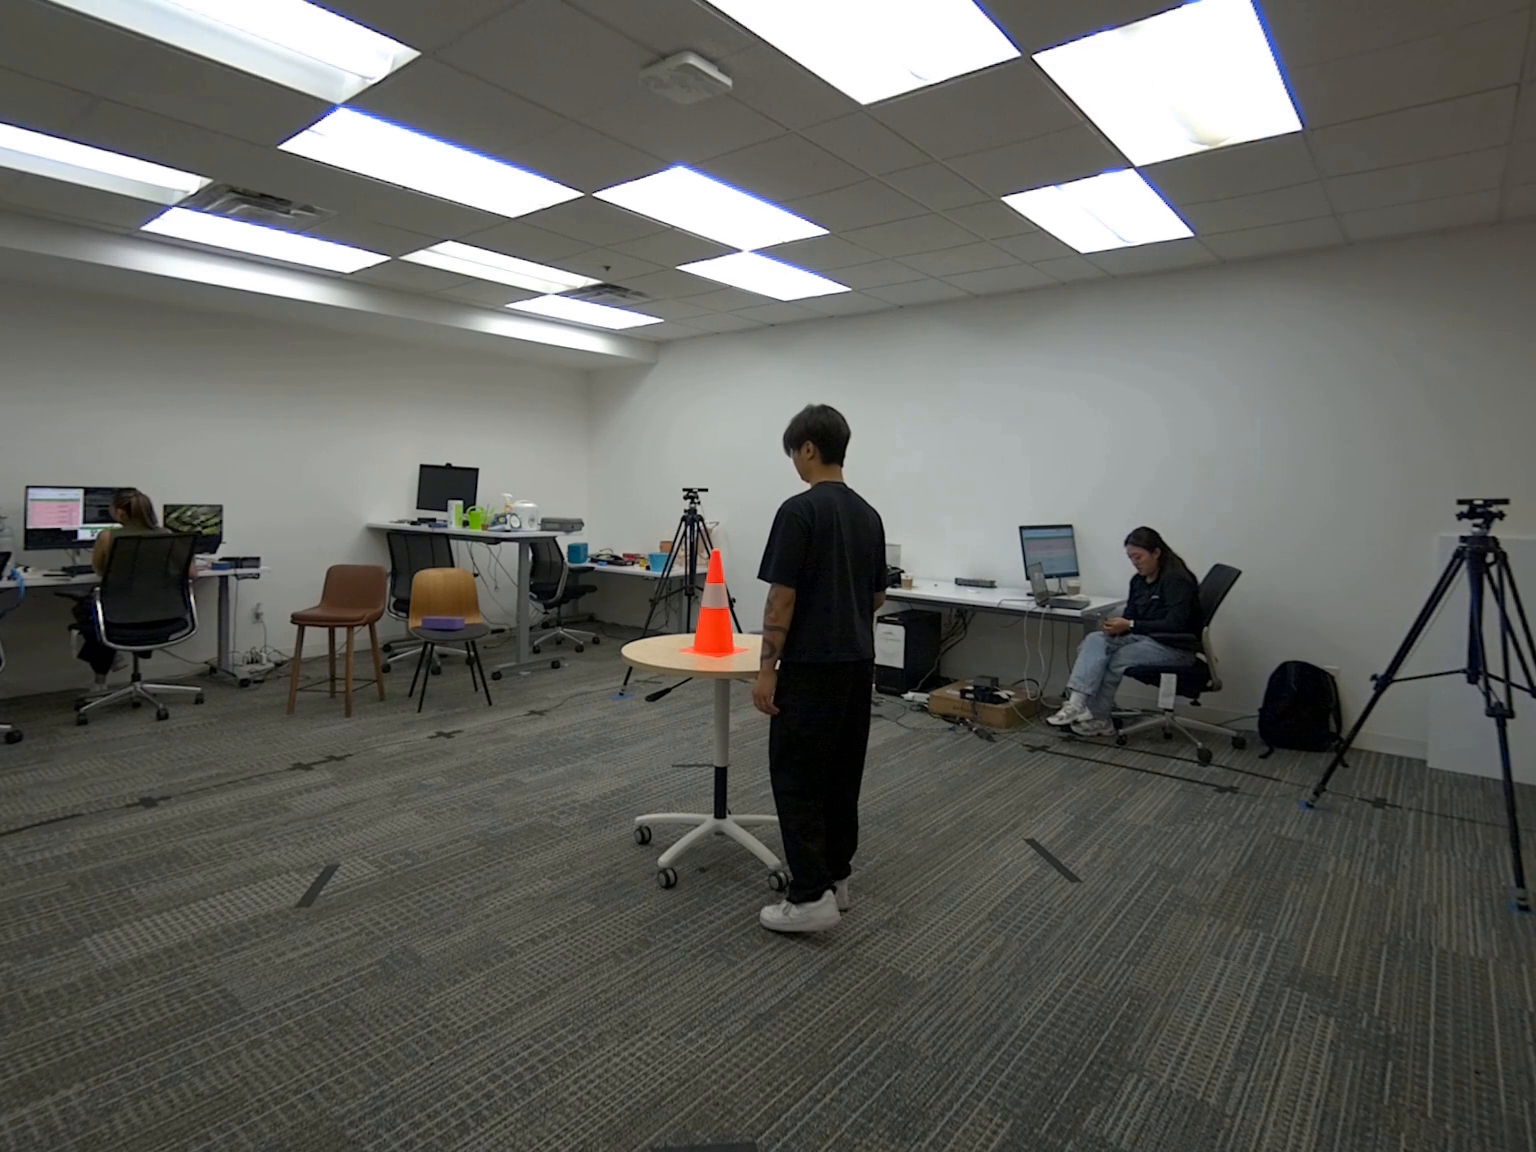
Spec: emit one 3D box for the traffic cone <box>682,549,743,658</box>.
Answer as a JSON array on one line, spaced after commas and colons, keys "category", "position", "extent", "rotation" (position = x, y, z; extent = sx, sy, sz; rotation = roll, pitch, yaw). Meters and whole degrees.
[{"category": "traffic cone", "position": [-0.210, 0.094, 3.194], "extent": [0.210, 0.382, 0.199], "rotation": [3, 5, 26]}]
